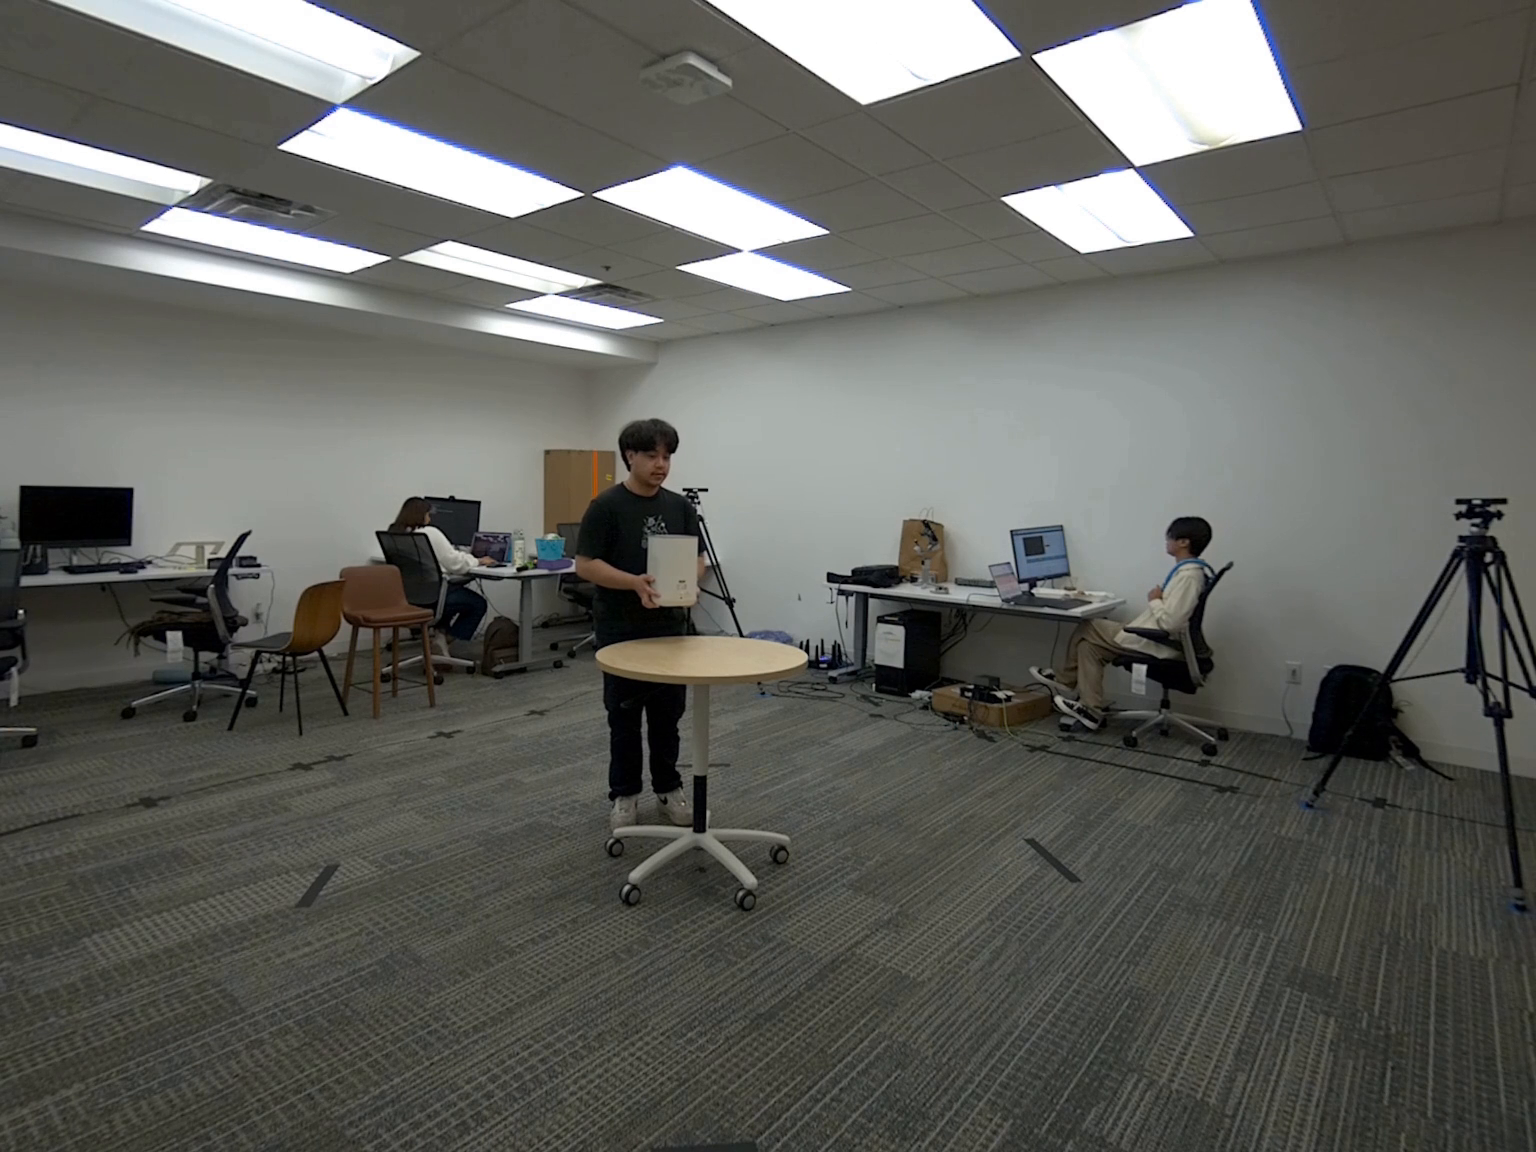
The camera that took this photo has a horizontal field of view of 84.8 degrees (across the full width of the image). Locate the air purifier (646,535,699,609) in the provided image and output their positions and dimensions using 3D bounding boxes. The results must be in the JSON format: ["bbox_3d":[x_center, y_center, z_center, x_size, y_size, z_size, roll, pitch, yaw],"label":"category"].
[{"bbox_3d":[-0.380,-0.026,3.295,0.166,0.265,0.176,1,1,-31],"label":"air purifier"}]
